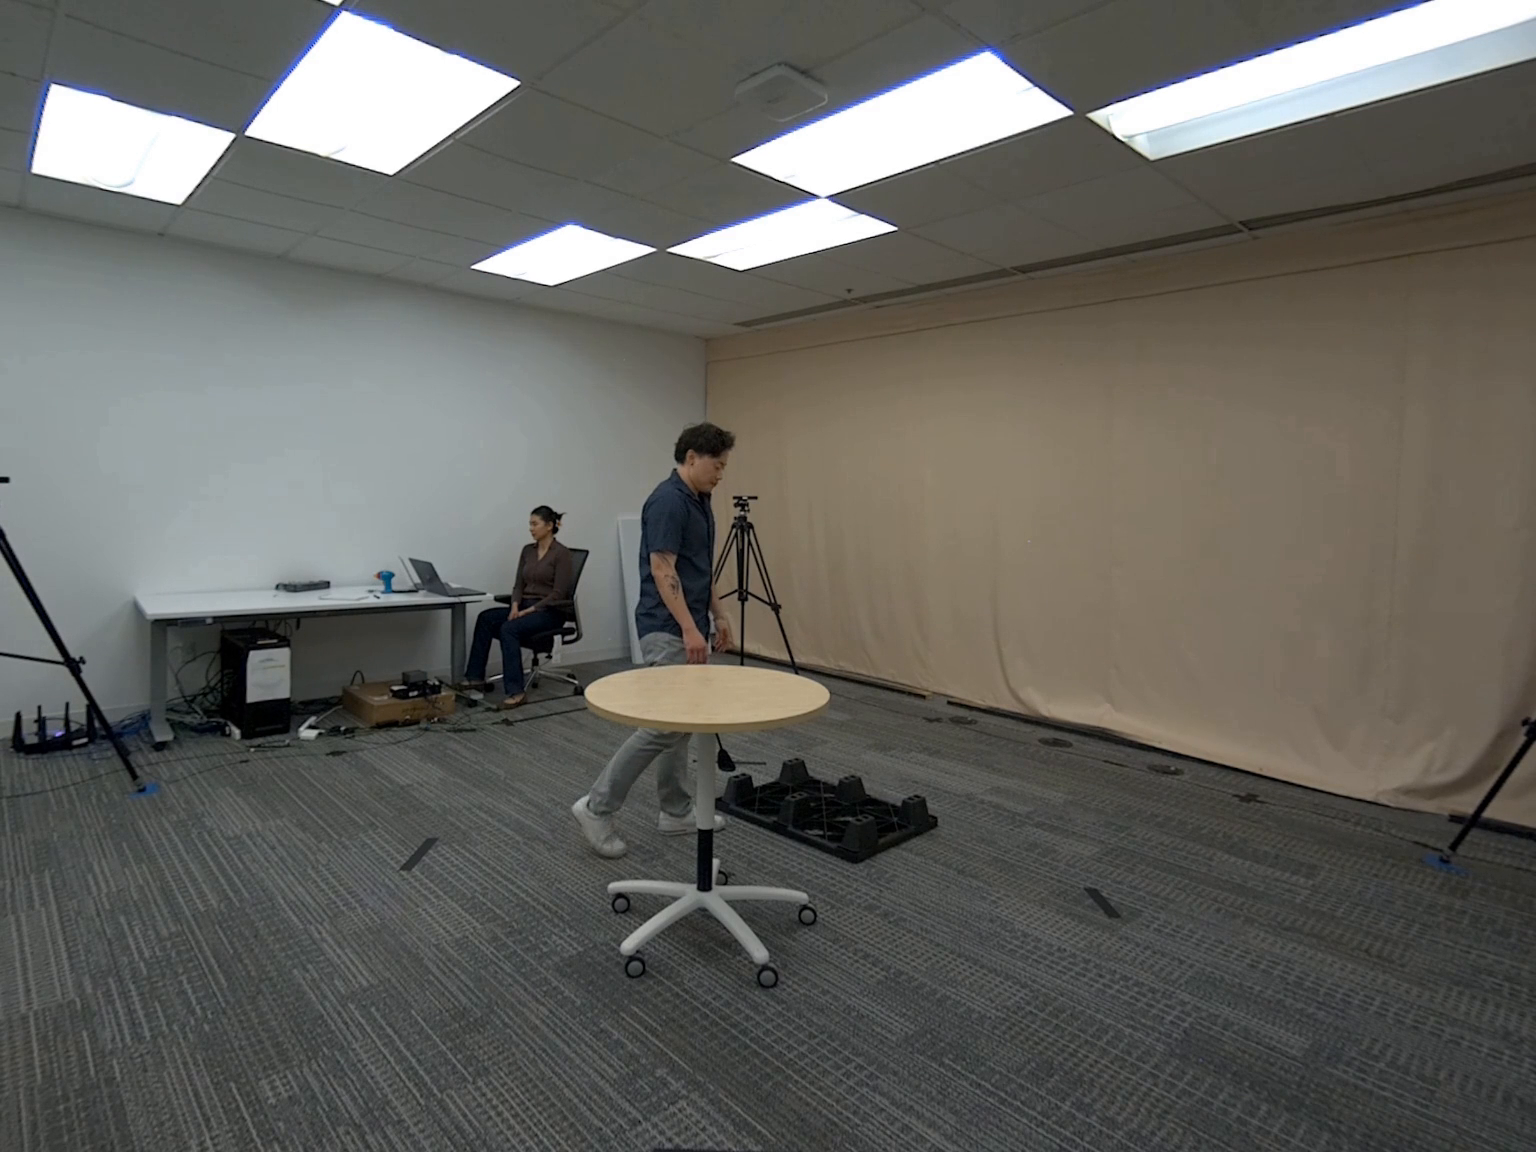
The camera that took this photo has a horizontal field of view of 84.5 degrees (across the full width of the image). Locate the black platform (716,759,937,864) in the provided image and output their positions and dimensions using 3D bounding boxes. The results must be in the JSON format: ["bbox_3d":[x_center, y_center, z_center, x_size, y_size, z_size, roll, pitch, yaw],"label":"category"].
[{"bbox_3d":[0.243,0.994,3.702,0.826,0.143,0.591,7,7,43],"label":"black platform"}]
